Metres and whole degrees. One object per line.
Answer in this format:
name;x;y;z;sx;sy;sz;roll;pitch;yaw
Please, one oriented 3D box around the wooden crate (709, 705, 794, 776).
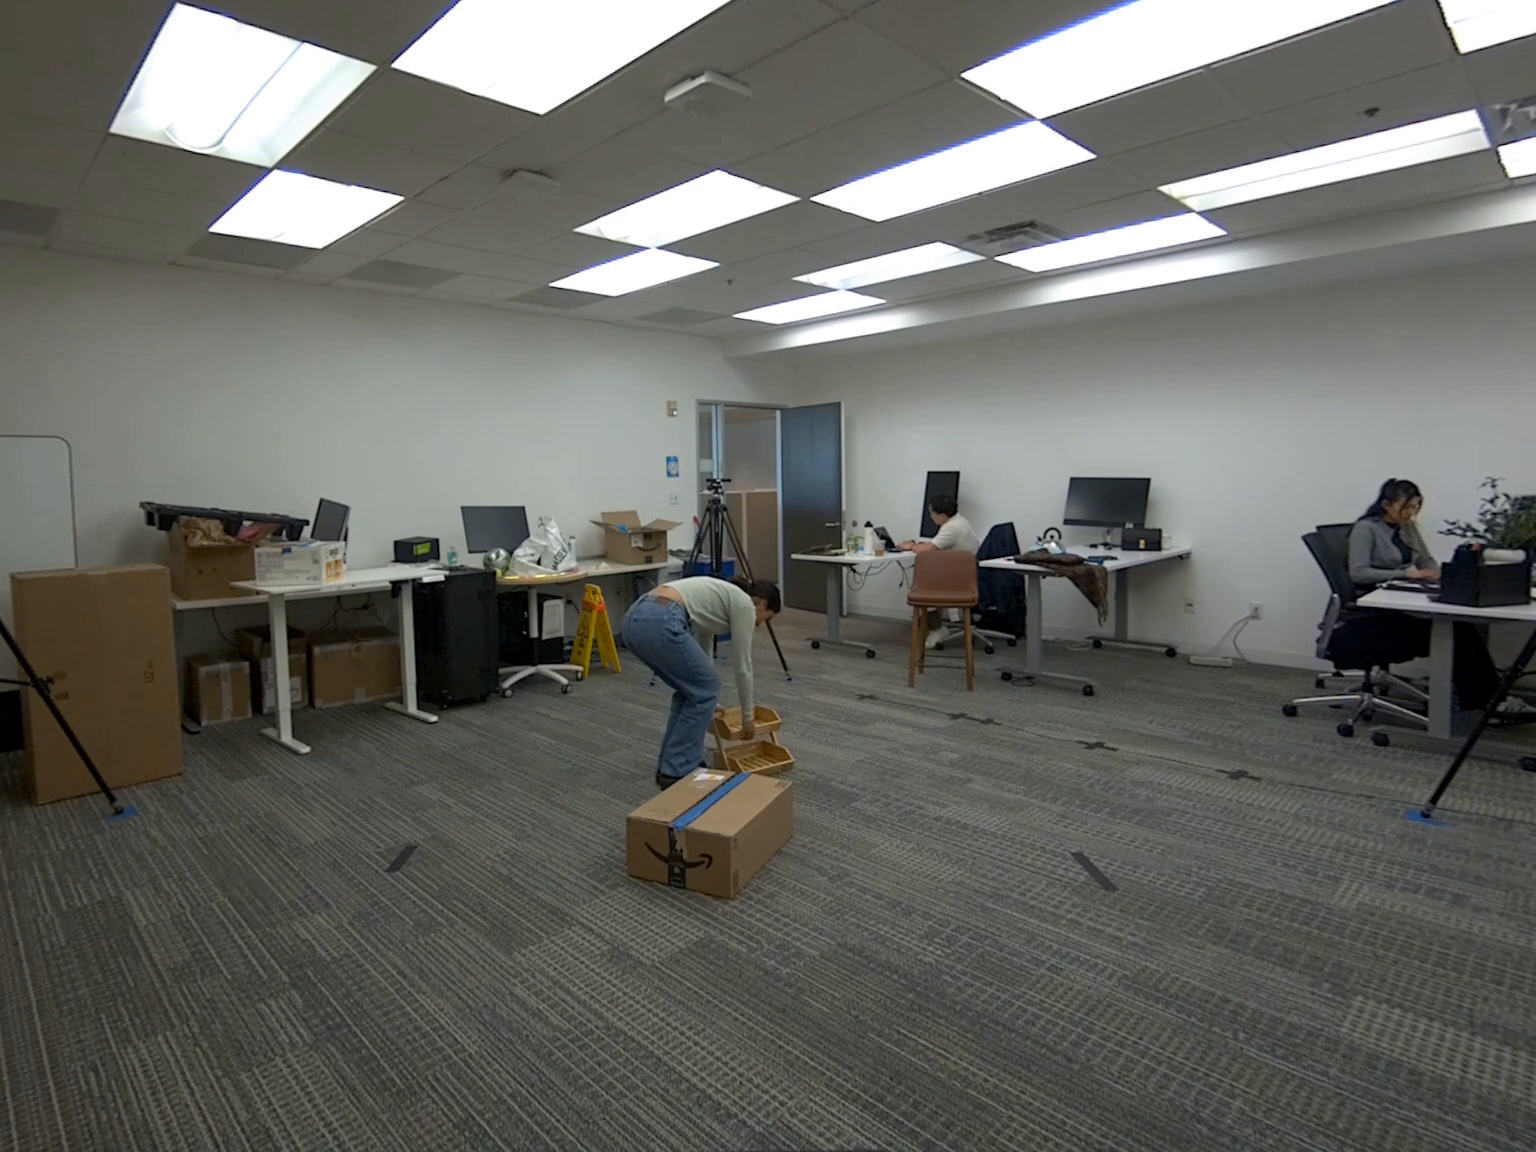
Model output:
wooden crate;-0.086;0.787;4.114;0.316;0.272;0.311;-5;5;-36
